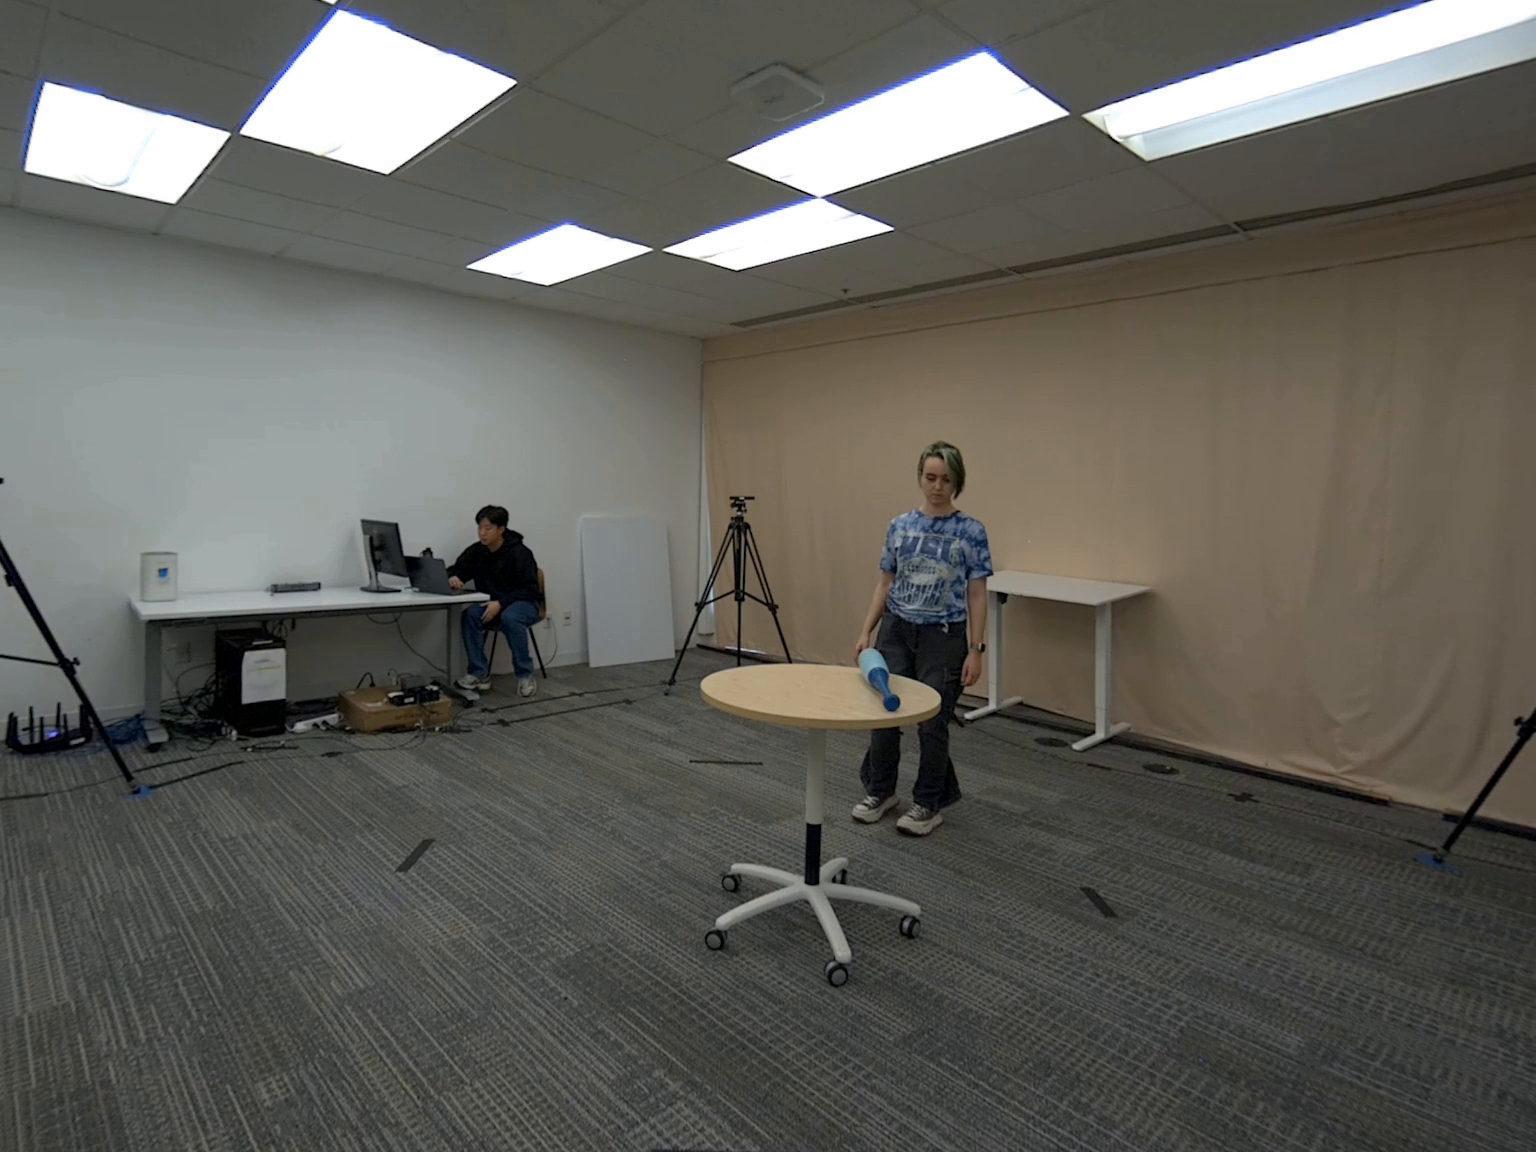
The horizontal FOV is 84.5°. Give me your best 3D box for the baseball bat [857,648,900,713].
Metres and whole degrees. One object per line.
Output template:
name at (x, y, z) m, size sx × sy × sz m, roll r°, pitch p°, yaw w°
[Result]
baseball bat at (0.355, 0.336, 2.696) m, size 0.089 × 0.088 × 0.546 m, roll 1°, pitch 8°, yaw -2°
